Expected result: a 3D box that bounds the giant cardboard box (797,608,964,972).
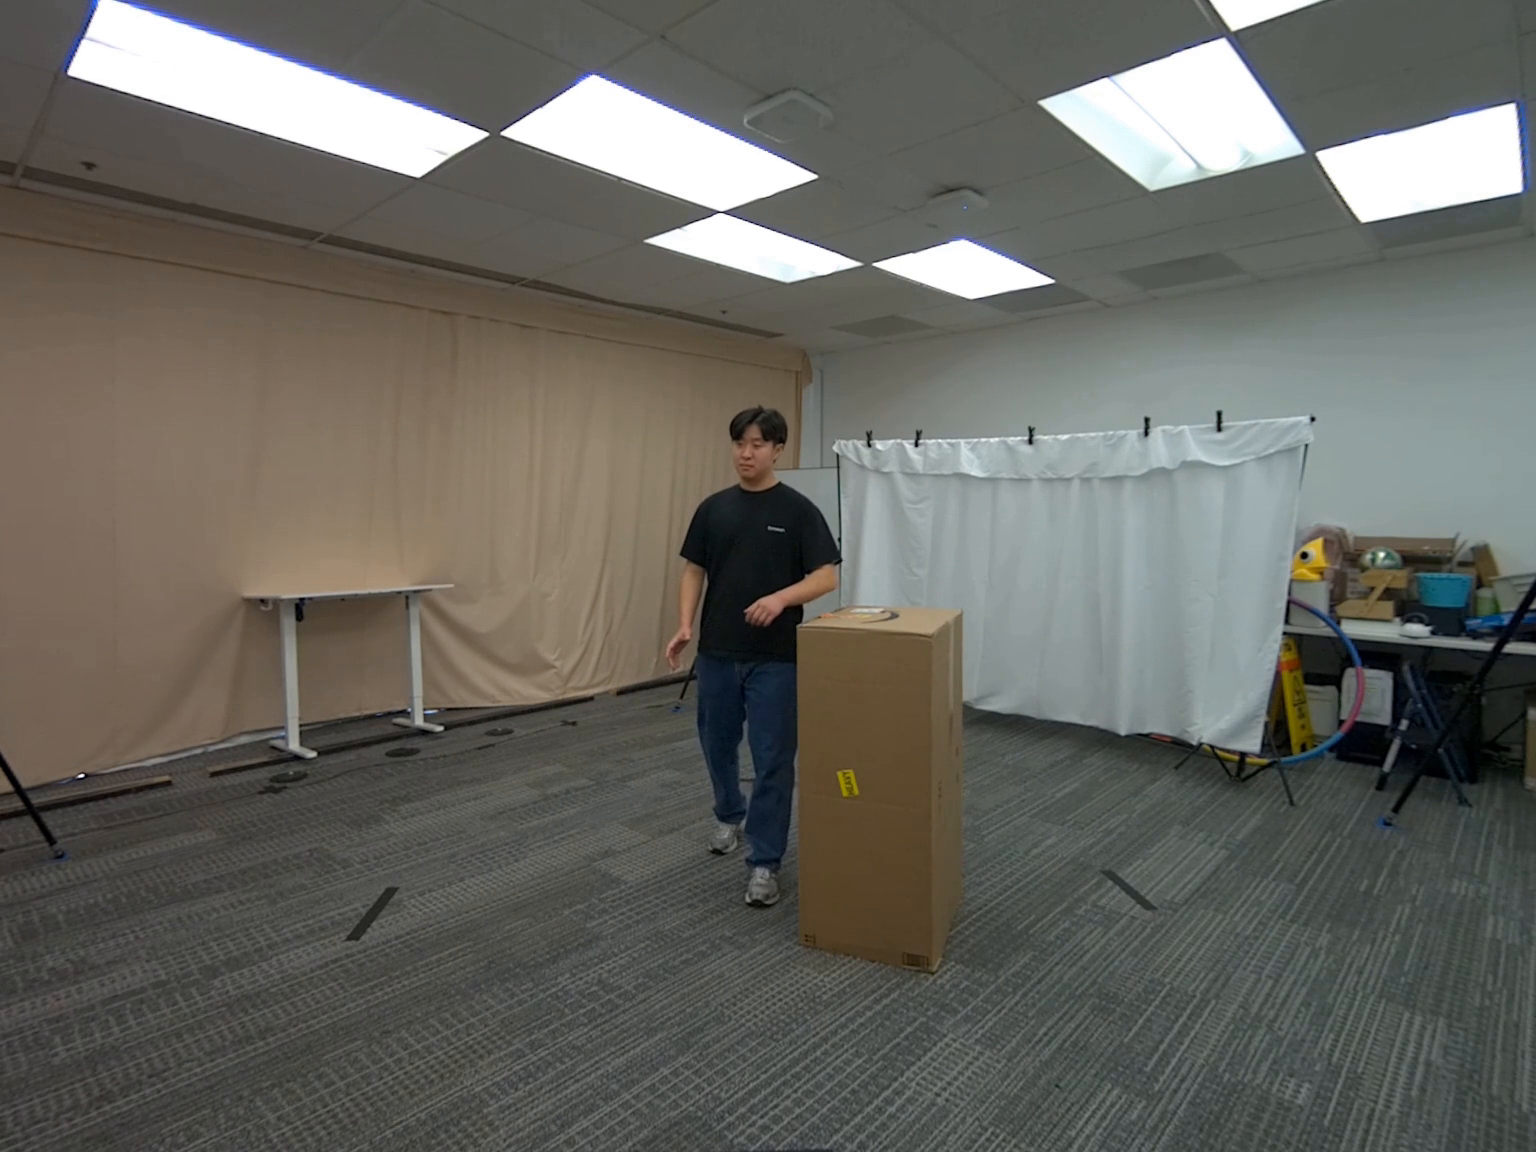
[{"bbox_3d":[0.396,0.643,2.814,0.458,1.025,0.570,0,3,24],"label":"giant cardboard box"}]
